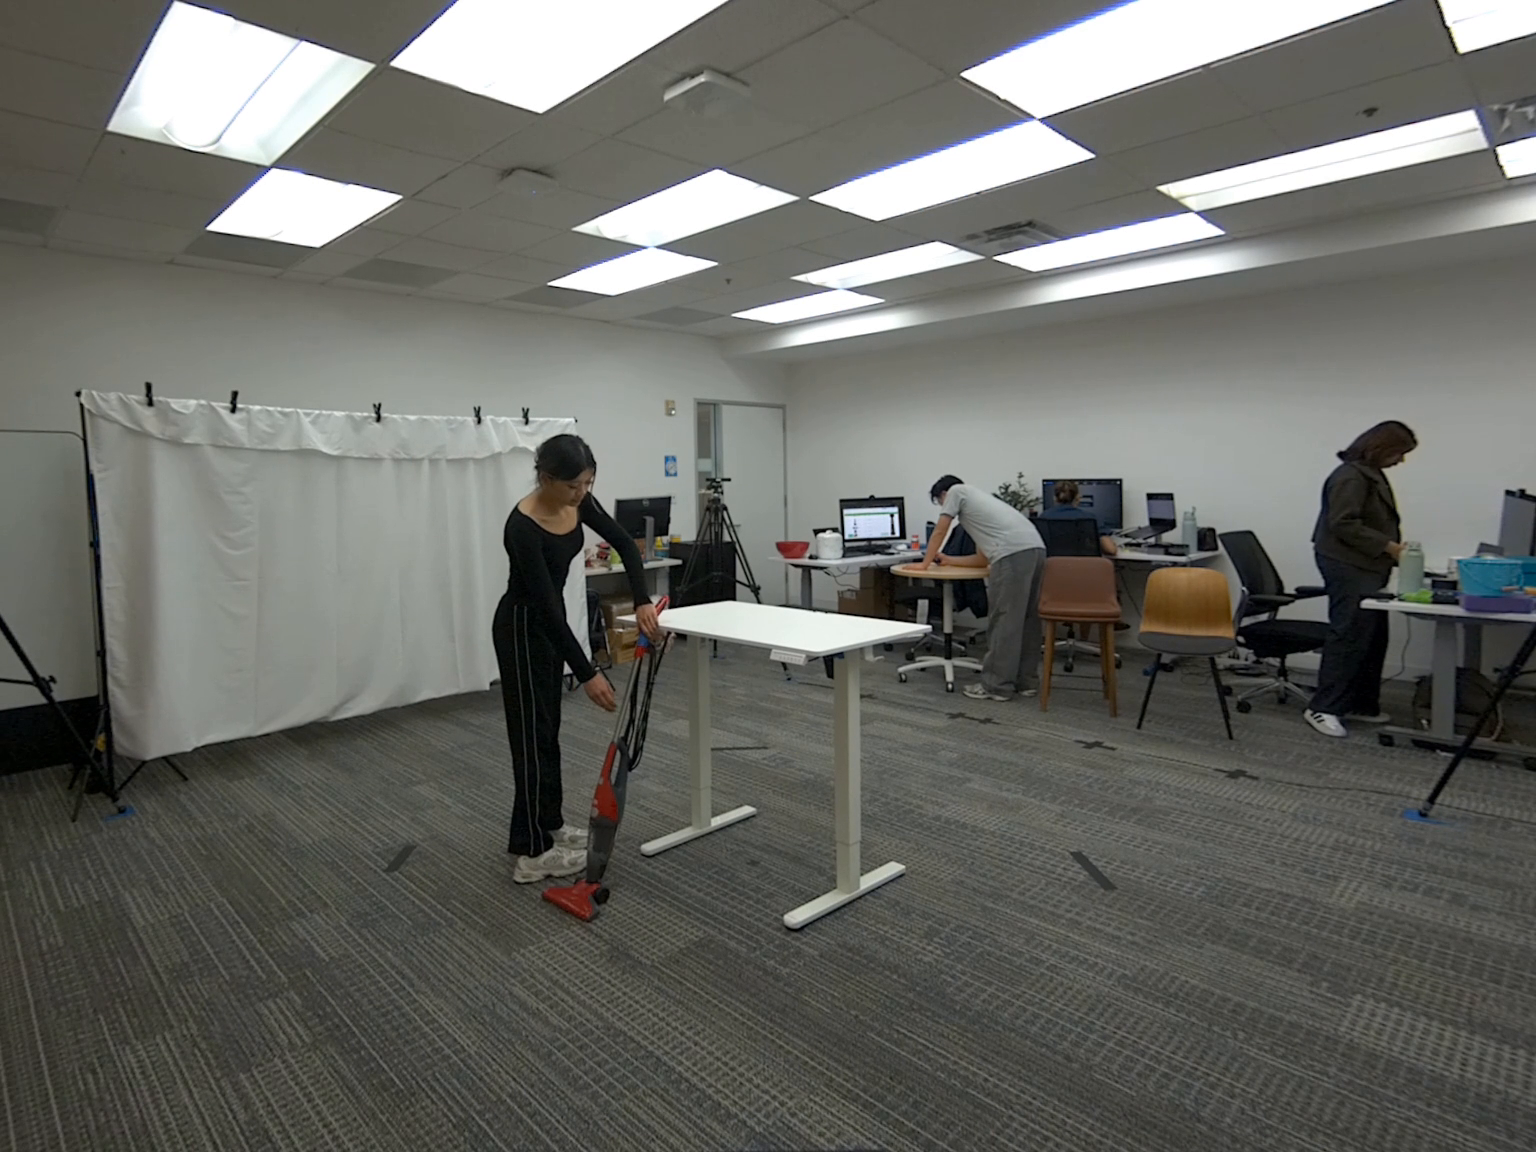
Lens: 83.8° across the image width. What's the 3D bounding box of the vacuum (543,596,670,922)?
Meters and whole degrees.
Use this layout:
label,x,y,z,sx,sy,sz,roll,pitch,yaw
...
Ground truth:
label,x,y,z,sx,sy,sz,roll,pitch,yaw
vacuum,-0.492,0.585,2.947,0.139,1.058,0.260,24,-16,-37
